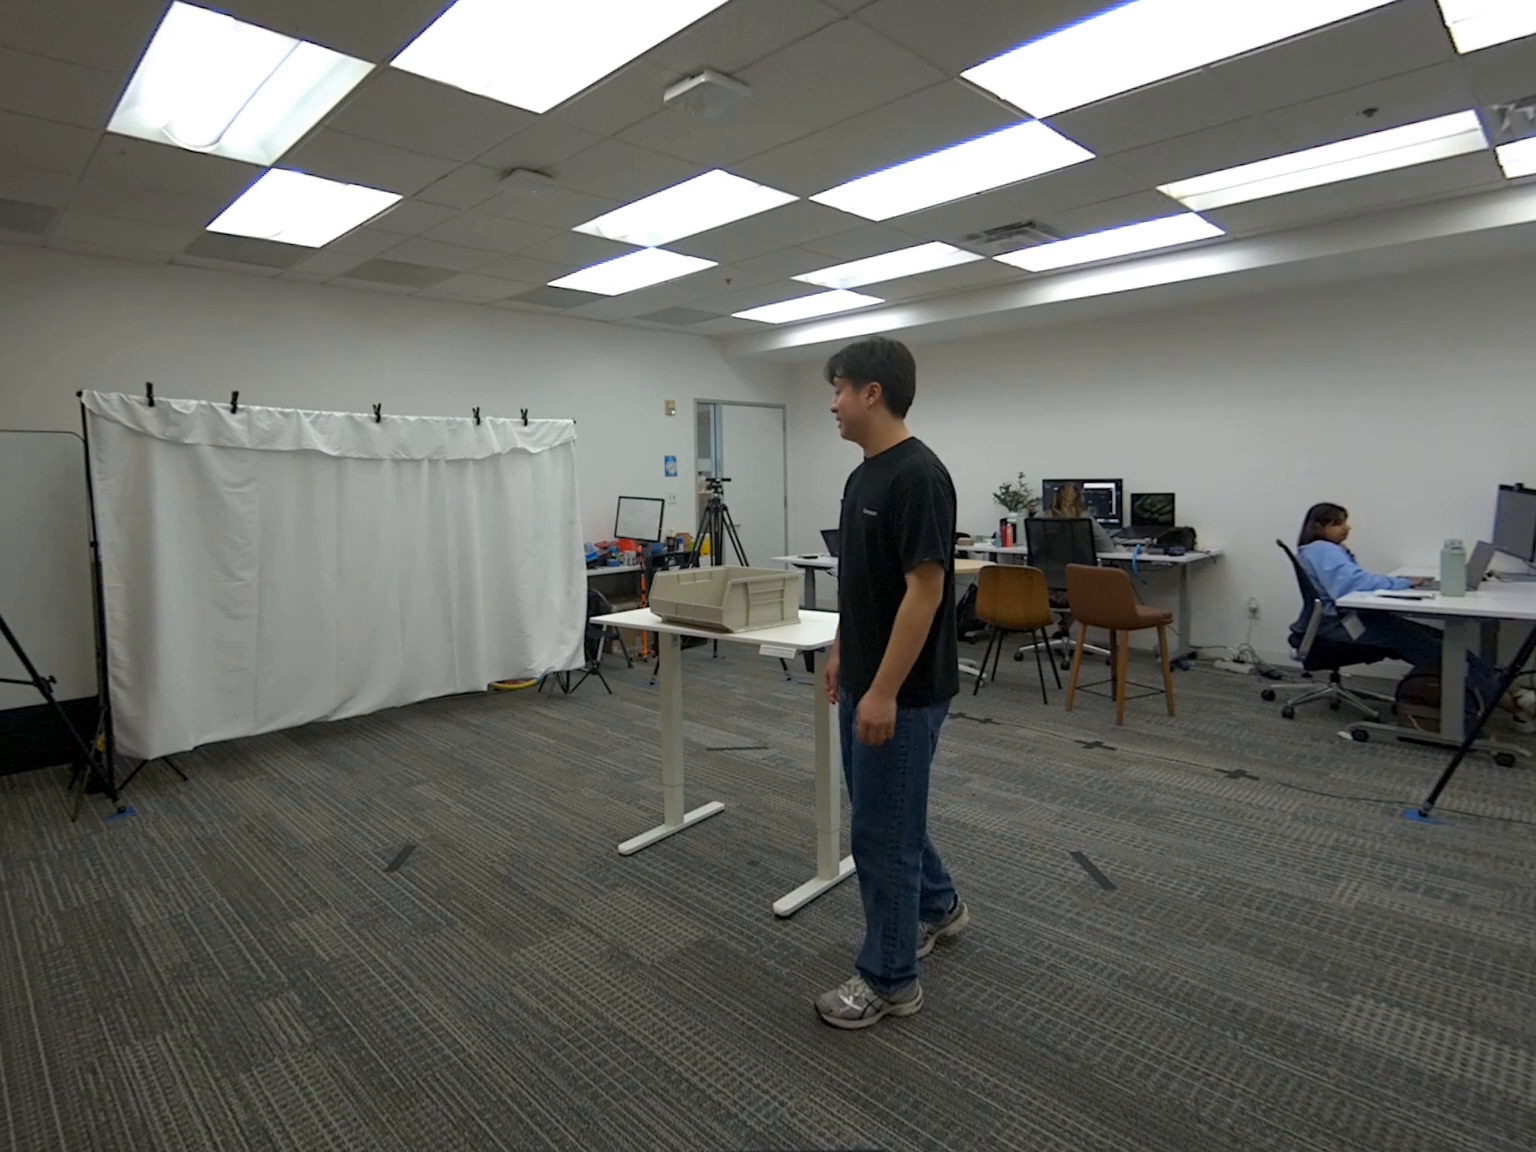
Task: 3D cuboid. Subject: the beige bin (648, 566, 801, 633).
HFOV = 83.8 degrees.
[{"bbox_3d":[-0.150,0.079,3.043,0.367,0.188,0.435,-4,6,-42],"label":"beige bin"}]
